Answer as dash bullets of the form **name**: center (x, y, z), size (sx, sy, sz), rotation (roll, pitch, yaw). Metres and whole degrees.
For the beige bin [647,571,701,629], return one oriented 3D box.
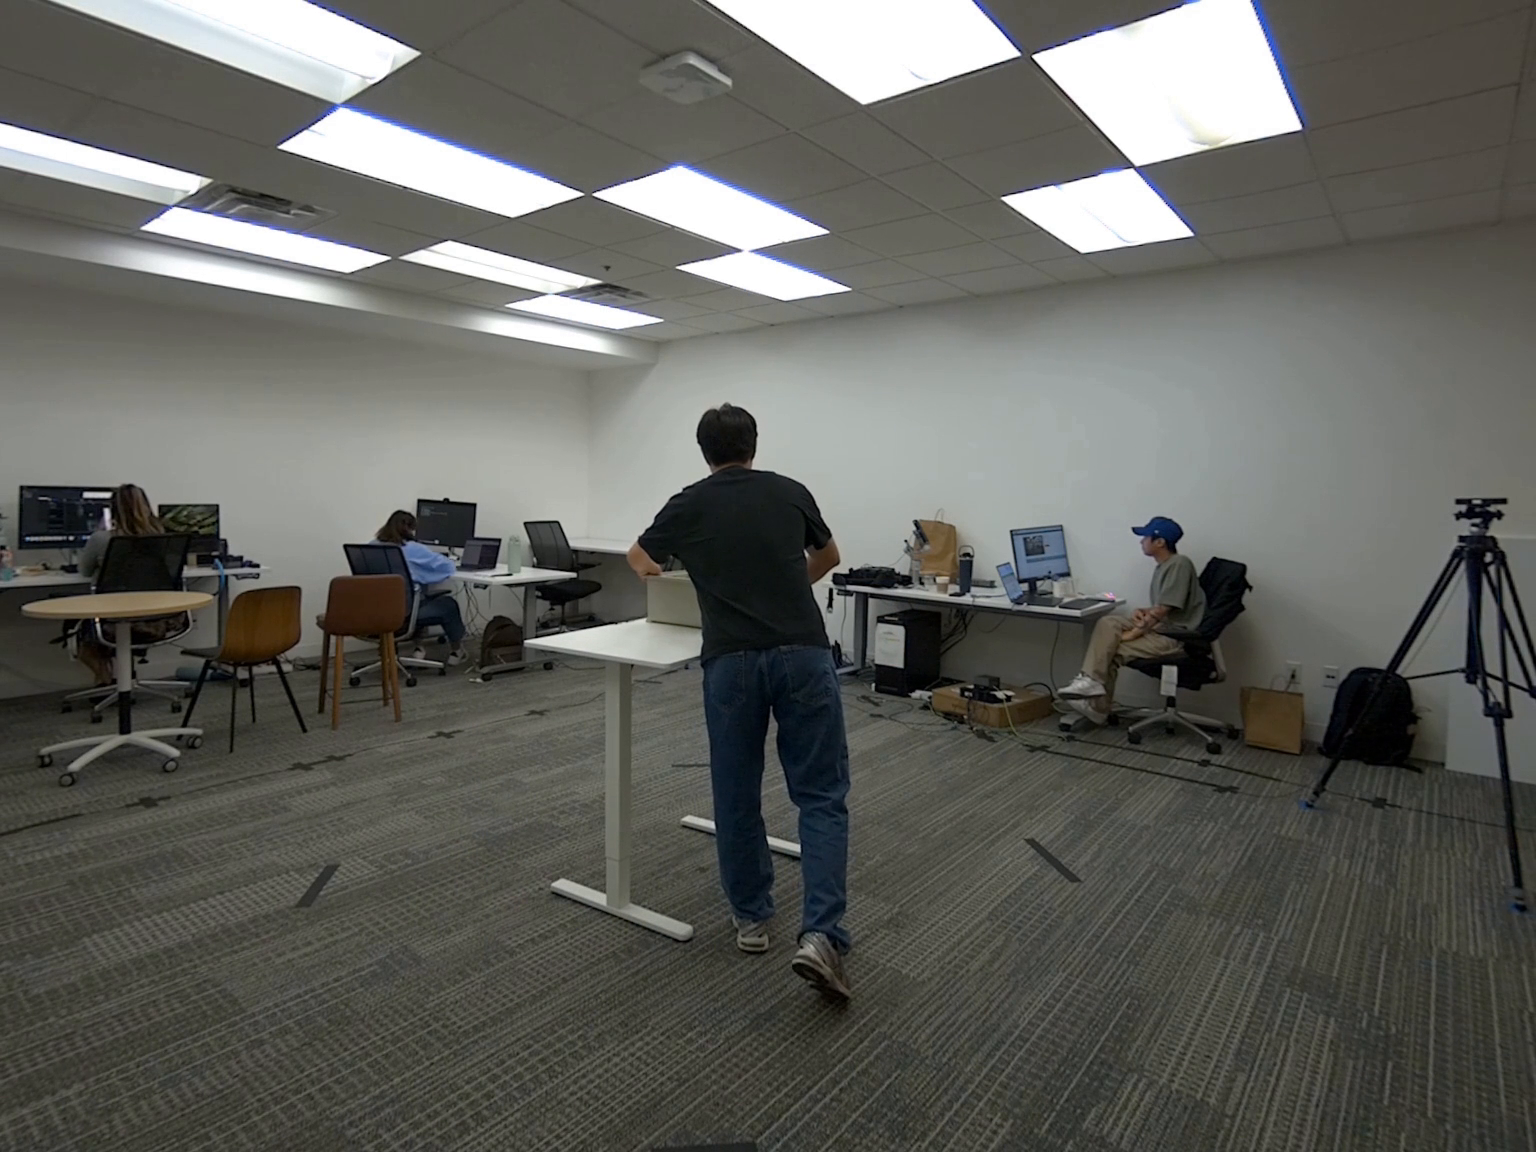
- **beige bin**: center (-0.203, 0.083, 3.234), size (0.436, 0.188, 0.367), rotation (4, 8, 36)
